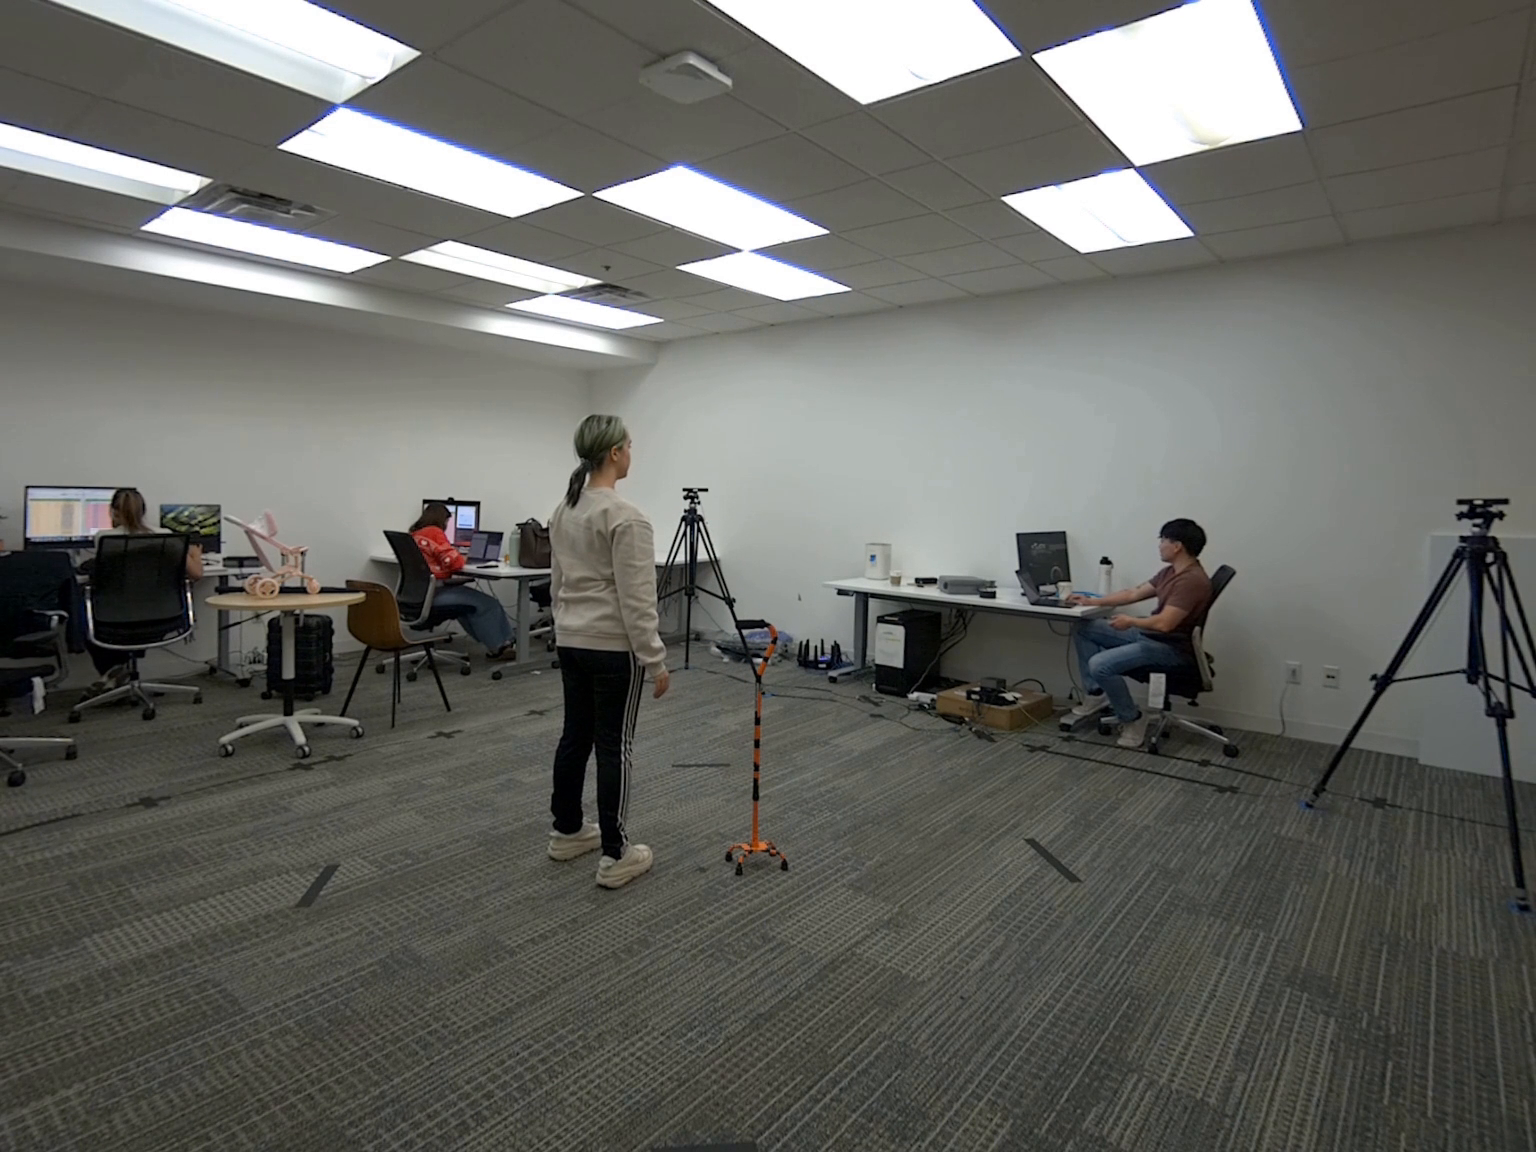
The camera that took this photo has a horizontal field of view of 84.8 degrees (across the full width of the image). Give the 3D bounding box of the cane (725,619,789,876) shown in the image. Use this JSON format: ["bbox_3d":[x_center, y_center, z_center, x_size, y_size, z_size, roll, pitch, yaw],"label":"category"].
[{"bbox_3d":[-0.039,0.621,3.138,0.203,0.906,0.155,2,2,-17],"label":"cane"}]
